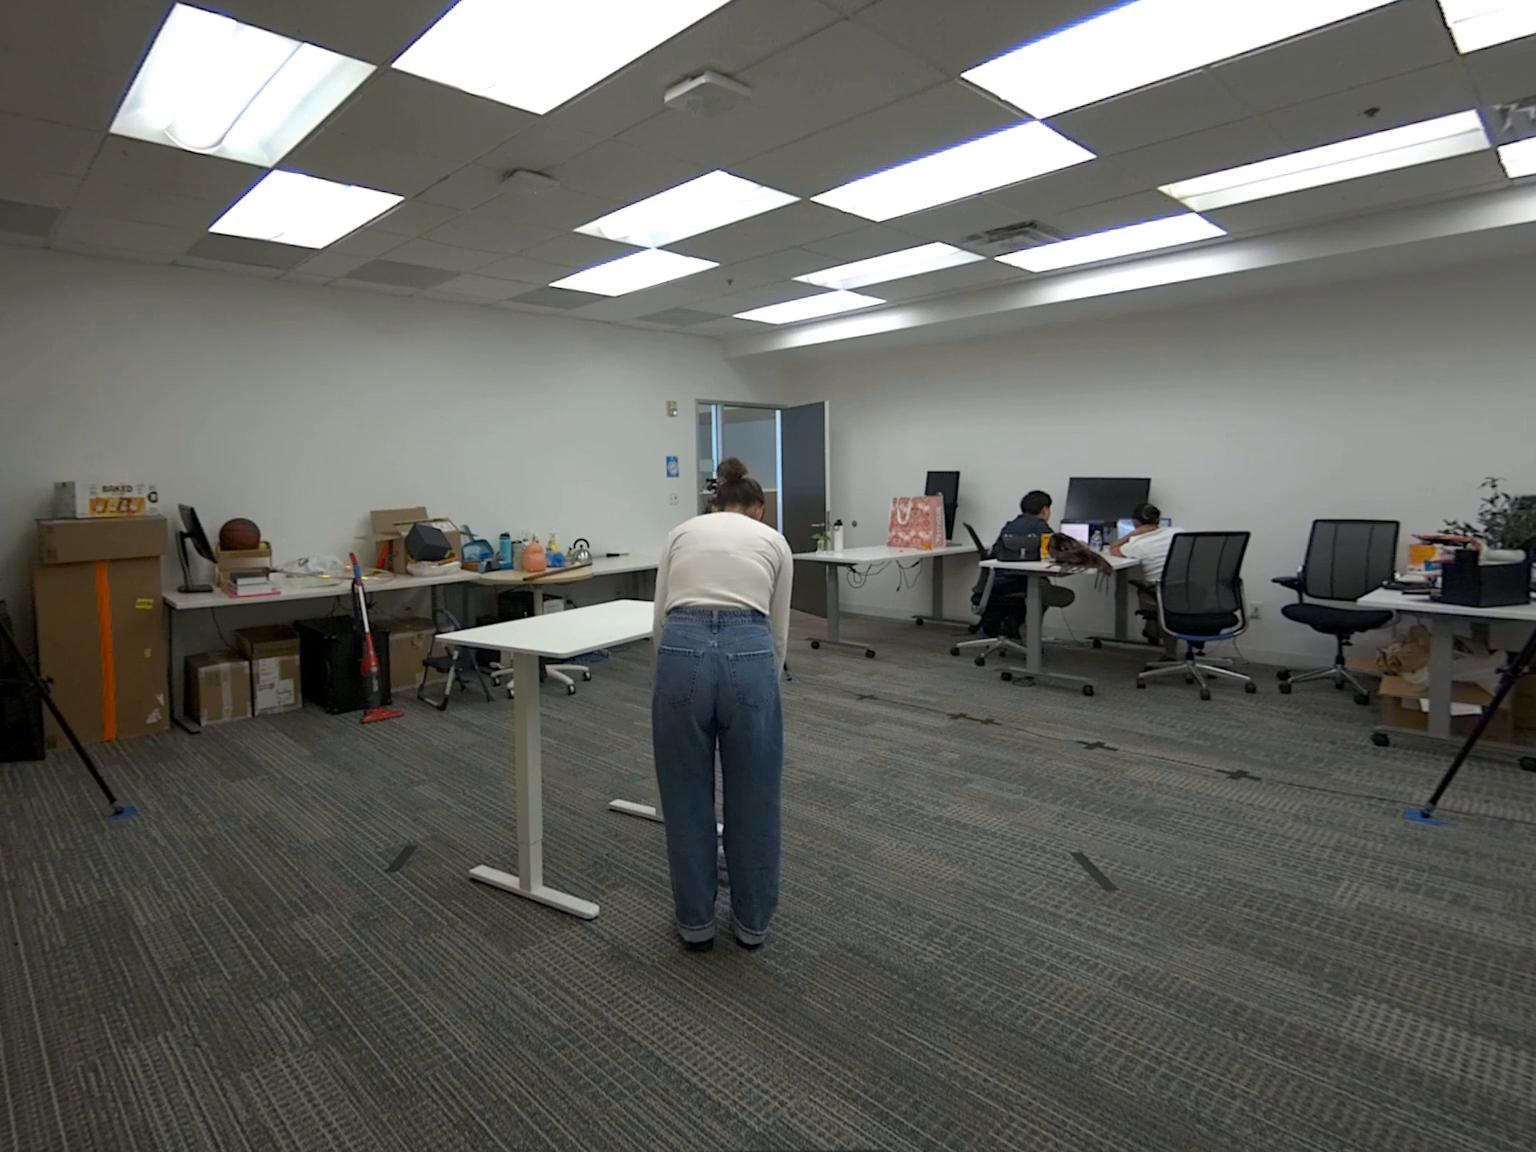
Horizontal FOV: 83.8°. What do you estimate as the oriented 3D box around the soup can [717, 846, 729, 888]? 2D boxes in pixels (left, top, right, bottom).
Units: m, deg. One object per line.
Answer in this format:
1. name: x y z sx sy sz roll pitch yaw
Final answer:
1. soup can: -0.140 1.012 2.964 0.067 0.121 0.067 0 4 -2
